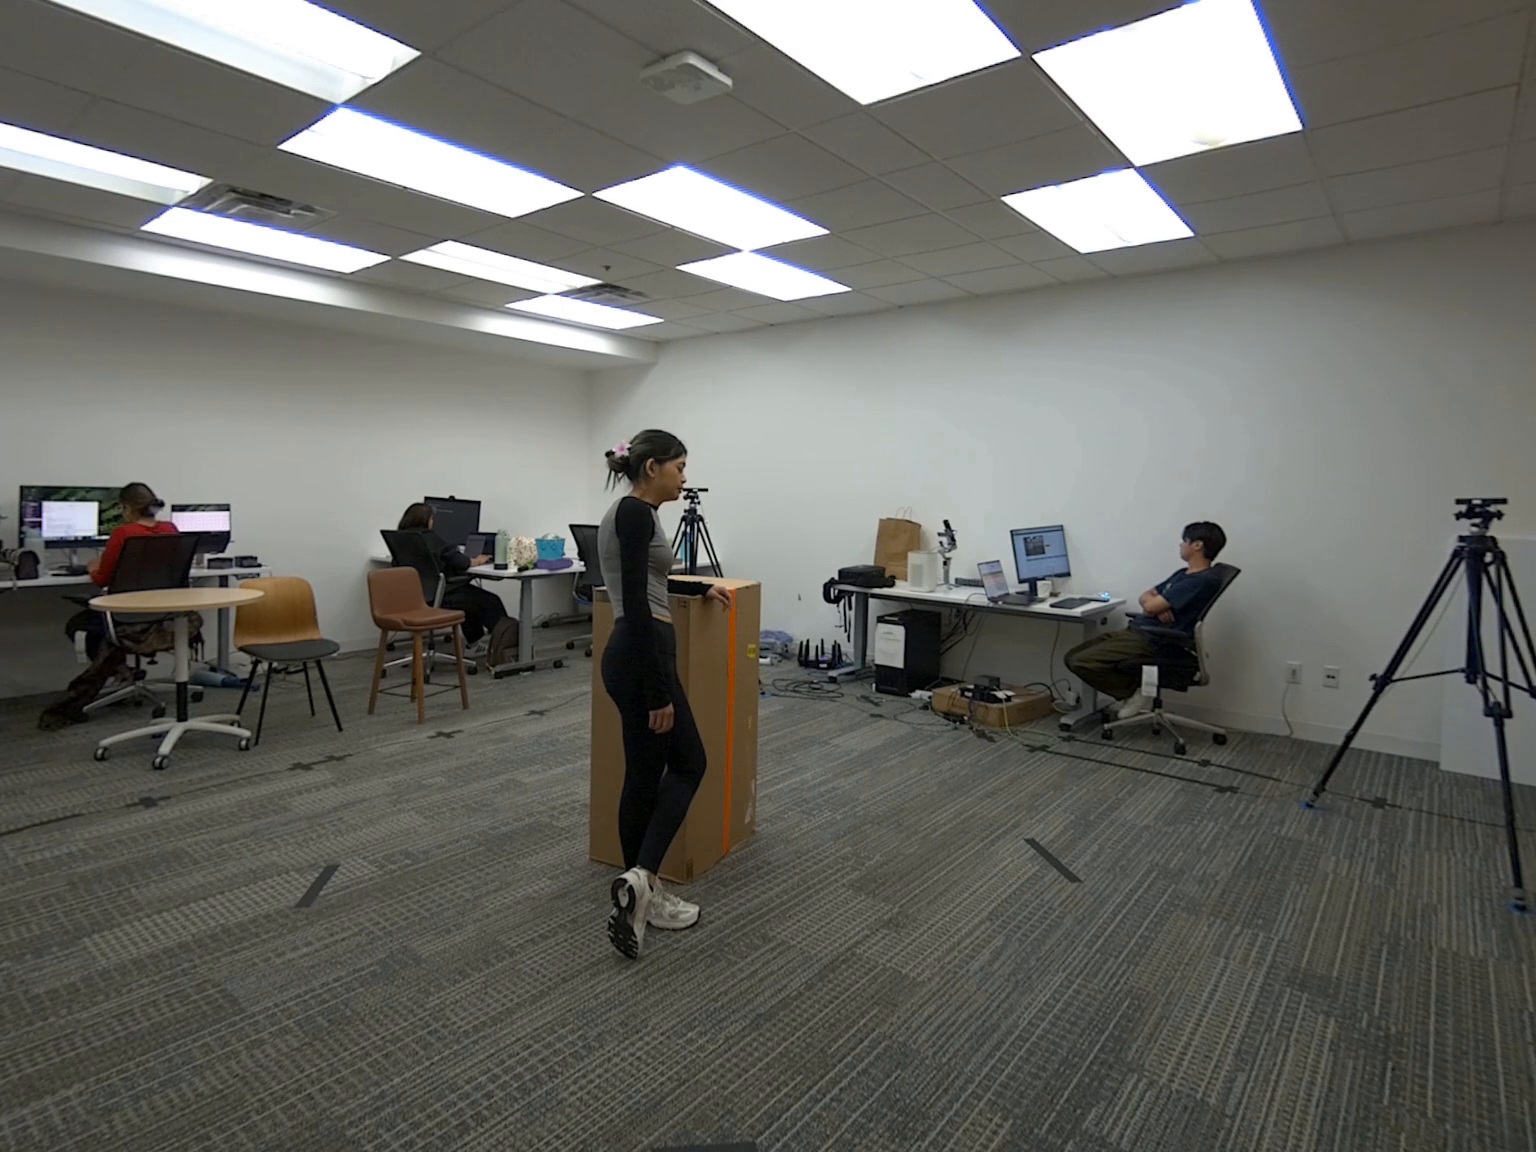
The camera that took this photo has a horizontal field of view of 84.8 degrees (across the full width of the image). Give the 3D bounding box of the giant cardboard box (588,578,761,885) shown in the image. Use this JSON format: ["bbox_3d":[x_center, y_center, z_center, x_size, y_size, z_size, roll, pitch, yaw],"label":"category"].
[{"bbox_3d":[-0.356,0.539,3.303,0.438,1.023,0.564,3,4,27],"label":"giant cardboard box"}]
